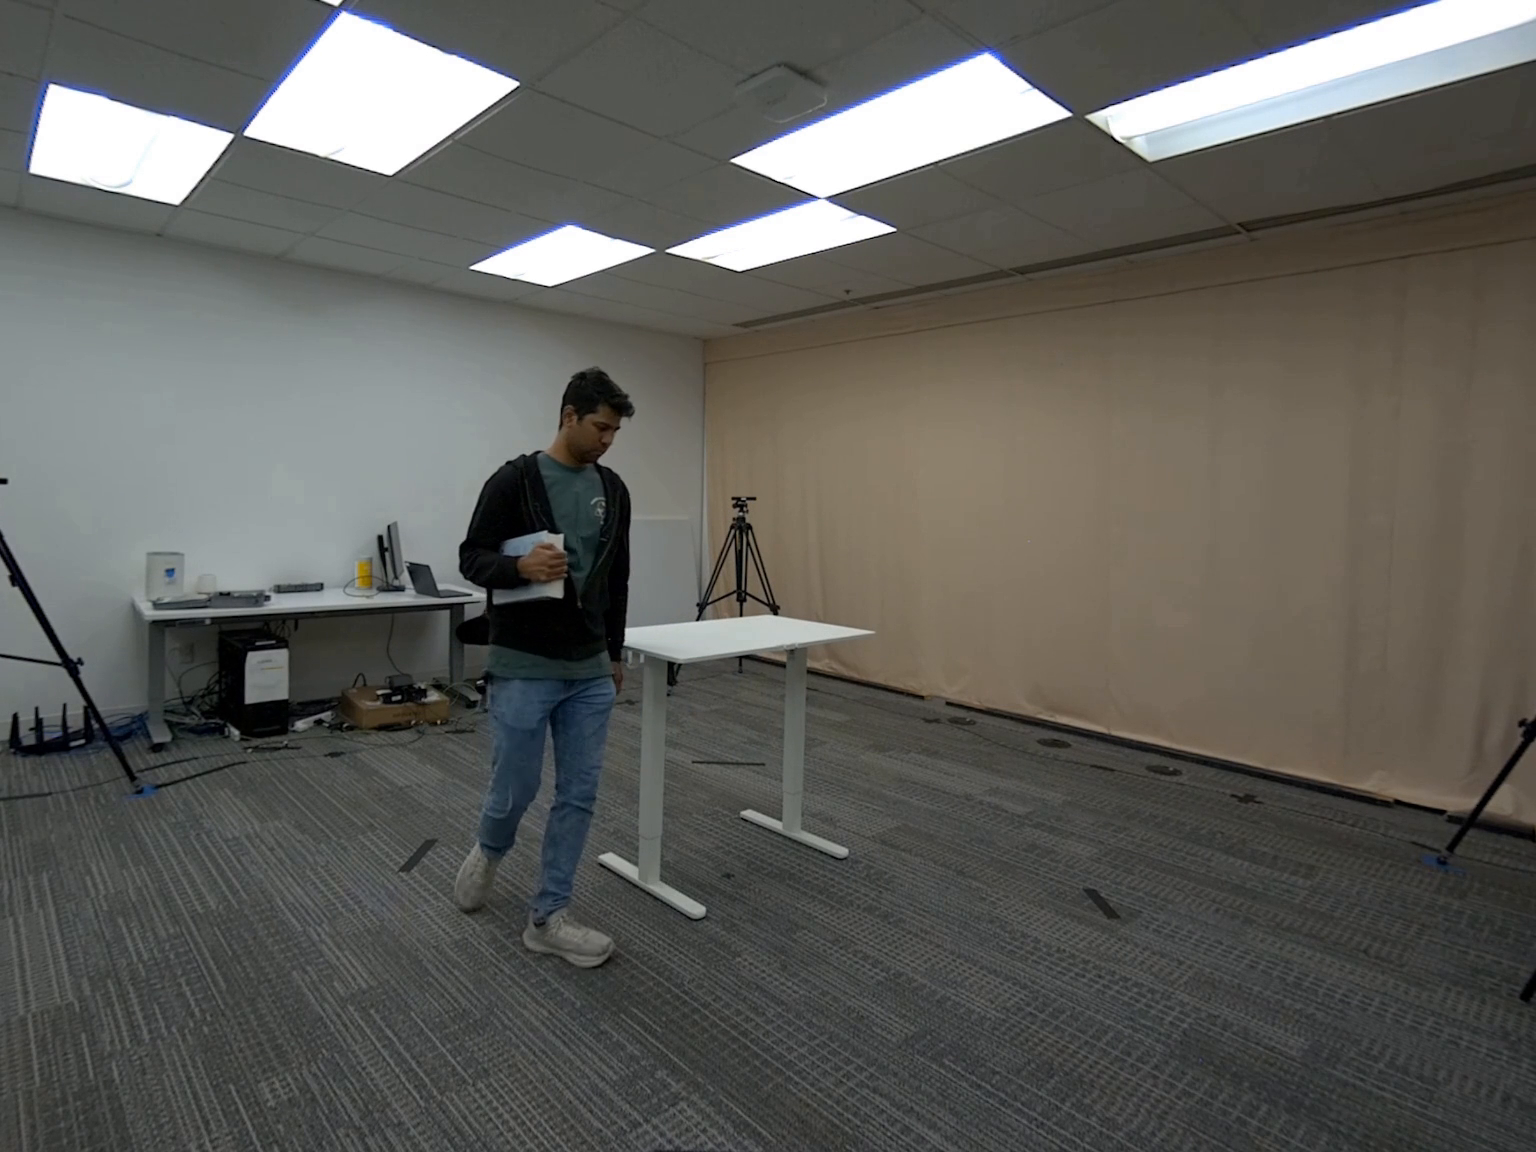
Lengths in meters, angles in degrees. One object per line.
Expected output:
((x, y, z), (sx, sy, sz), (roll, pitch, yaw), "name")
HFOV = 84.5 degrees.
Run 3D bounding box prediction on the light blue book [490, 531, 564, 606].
((-0.711, -0.023, 2.479), (0.266, 0.193, 0.057), (-8, -16, 40), "light blue book")
